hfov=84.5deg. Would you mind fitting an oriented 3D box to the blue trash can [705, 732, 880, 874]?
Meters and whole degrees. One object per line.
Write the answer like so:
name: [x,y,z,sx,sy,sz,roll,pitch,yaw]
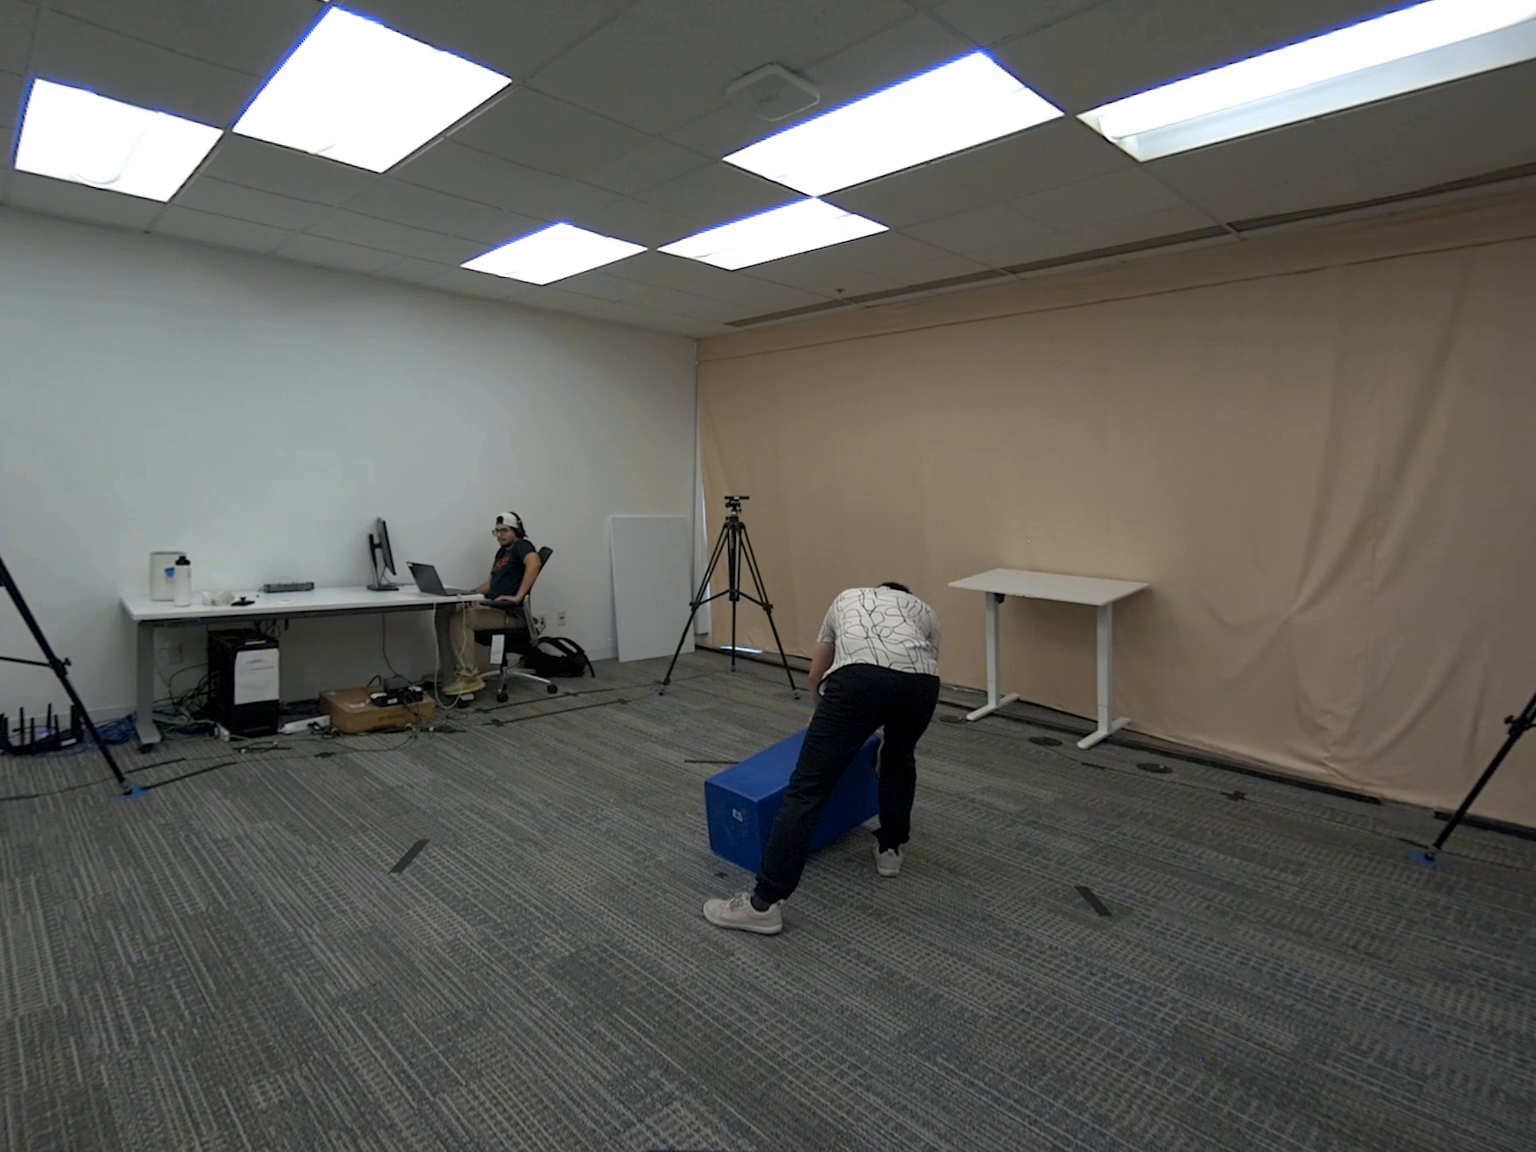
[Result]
blue trash can: [0.108,0.872,3.394,0.701,0.375,0.384,-14,14,-41]
